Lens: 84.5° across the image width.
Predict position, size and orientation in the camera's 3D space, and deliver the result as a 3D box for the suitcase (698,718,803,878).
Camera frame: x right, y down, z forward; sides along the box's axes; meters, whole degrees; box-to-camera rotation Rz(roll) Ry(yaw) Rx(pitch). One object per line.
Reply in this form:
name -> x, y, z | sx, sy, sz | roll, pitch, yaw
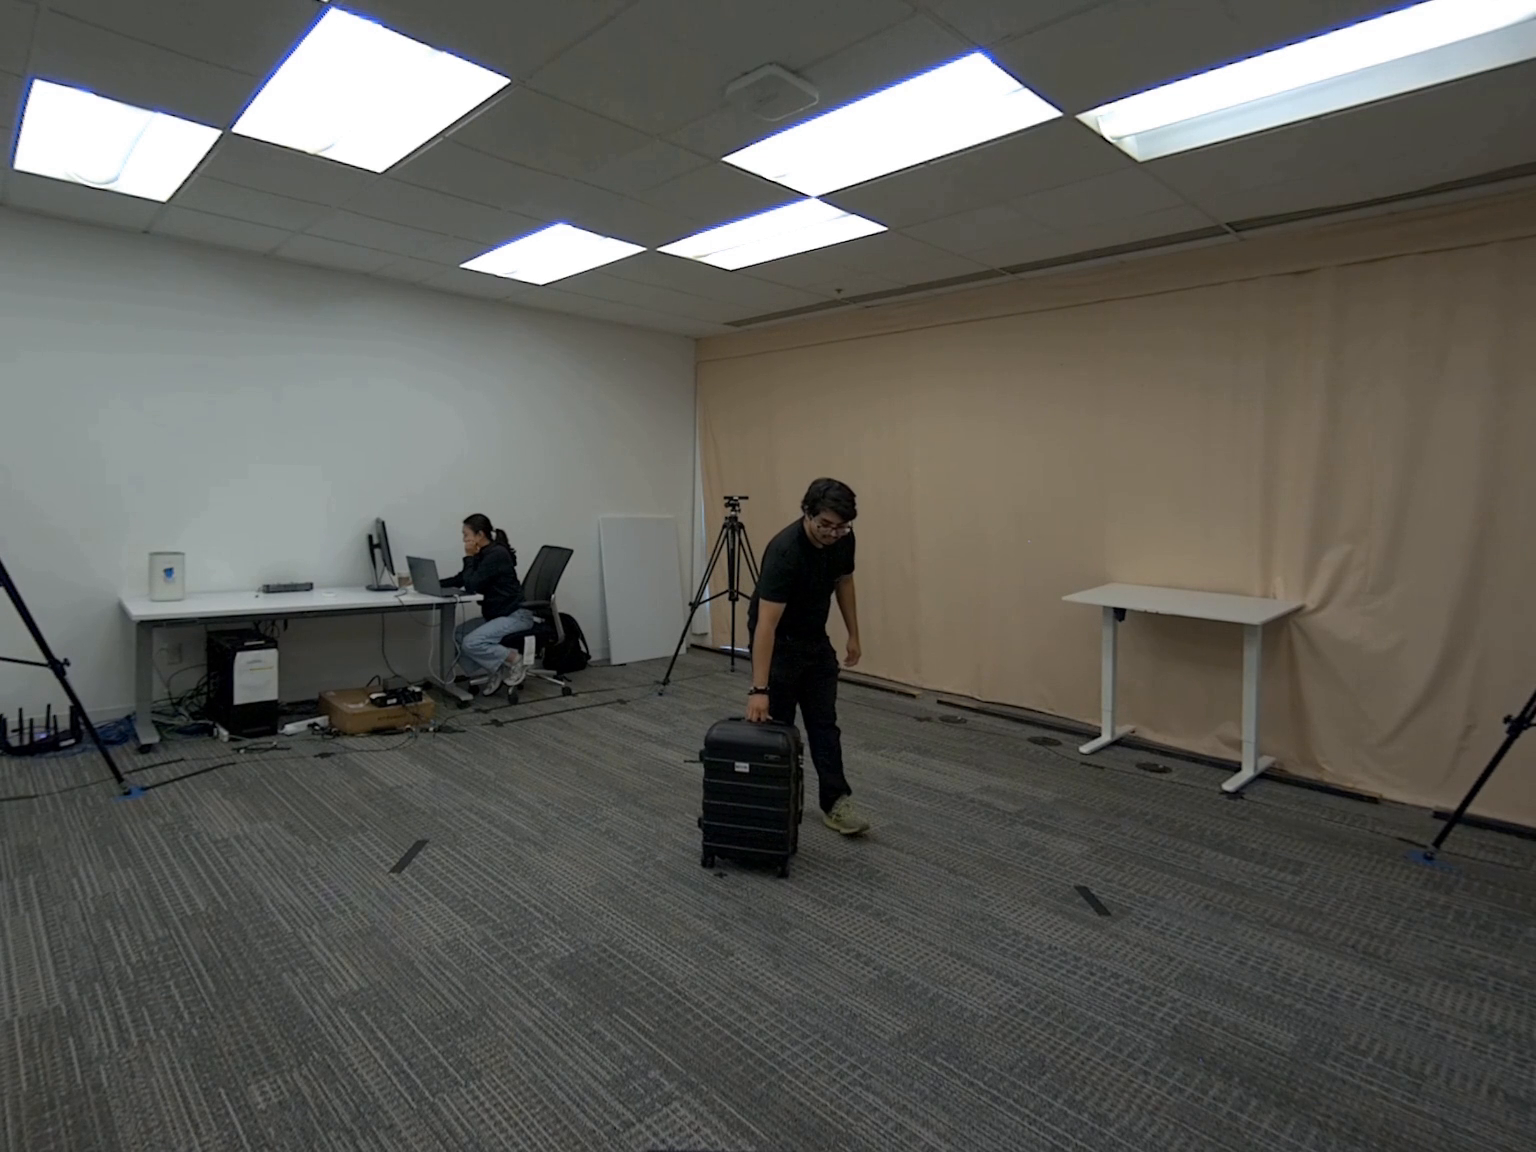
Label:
suitcase -> -0.068, 0.823, 3.201 | 0.379, 0.547, 0.247 | 3, 6, 12
